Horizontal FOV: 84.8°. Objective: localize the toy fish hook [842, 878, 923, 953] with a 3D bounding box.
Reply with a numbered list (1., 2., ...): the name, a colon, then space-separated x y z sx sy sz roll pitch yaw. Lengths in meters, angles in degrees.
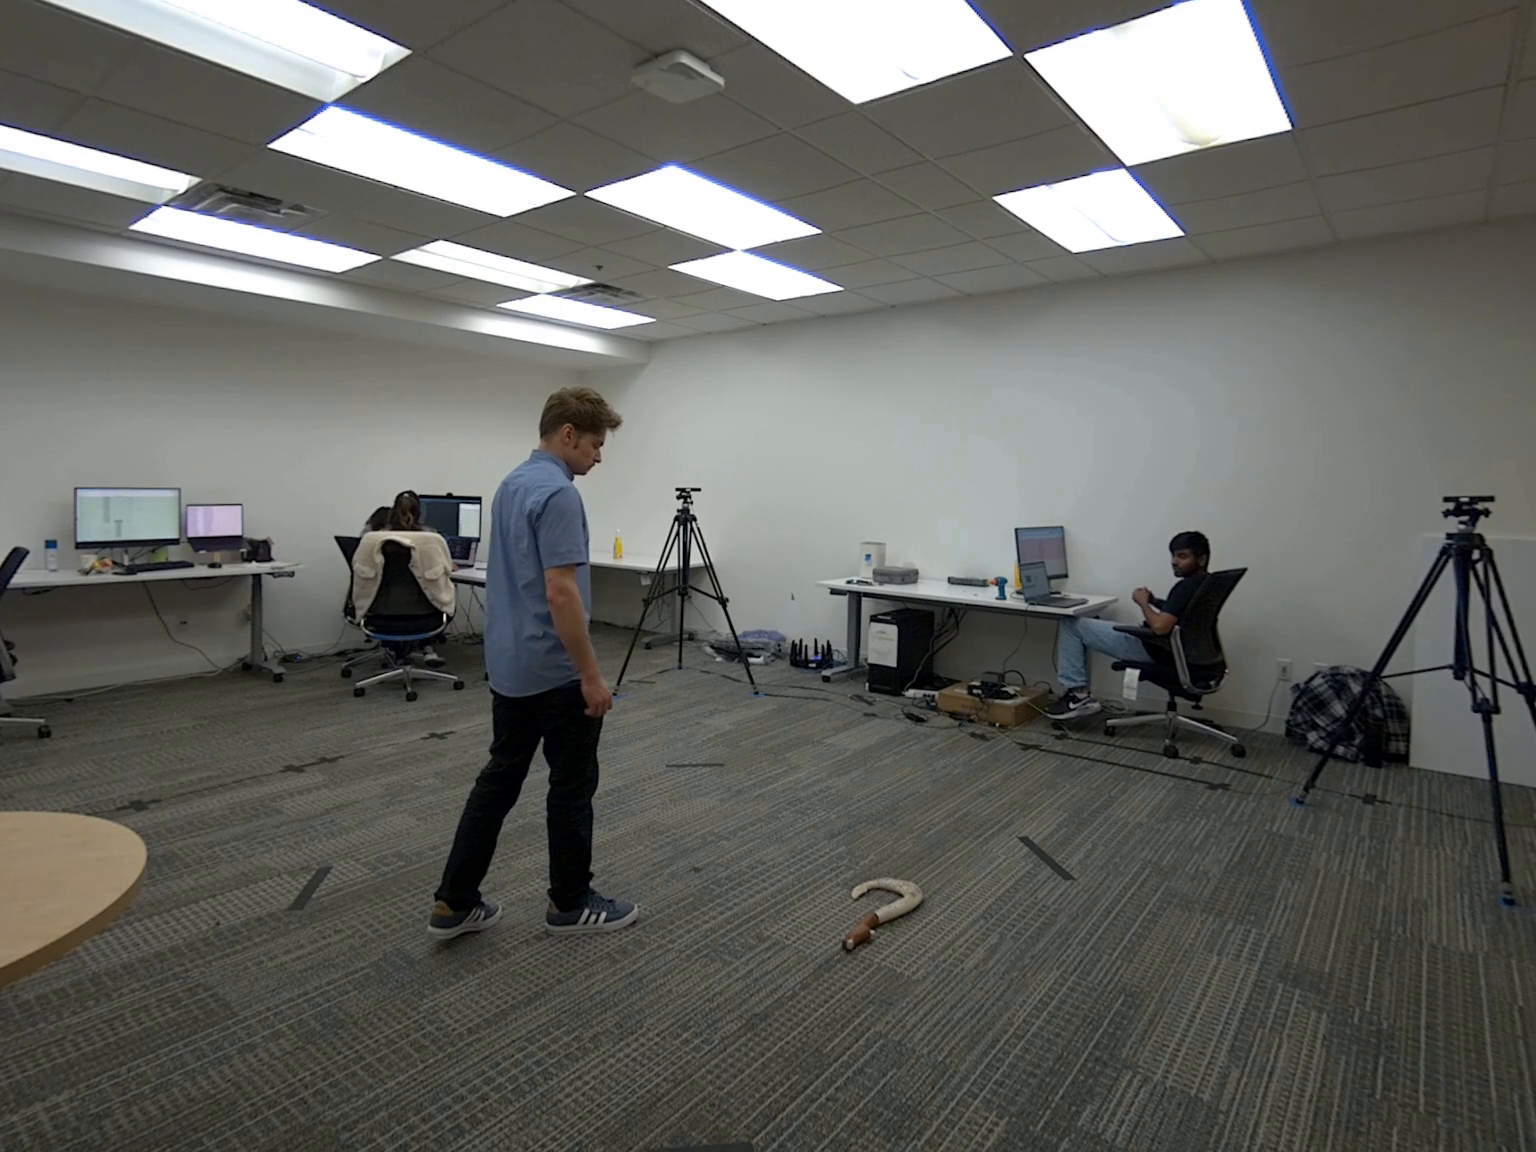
1. toy fish hook: 0.323 1.094 2.790 0.231 0.048 0.492 -3 2 35
